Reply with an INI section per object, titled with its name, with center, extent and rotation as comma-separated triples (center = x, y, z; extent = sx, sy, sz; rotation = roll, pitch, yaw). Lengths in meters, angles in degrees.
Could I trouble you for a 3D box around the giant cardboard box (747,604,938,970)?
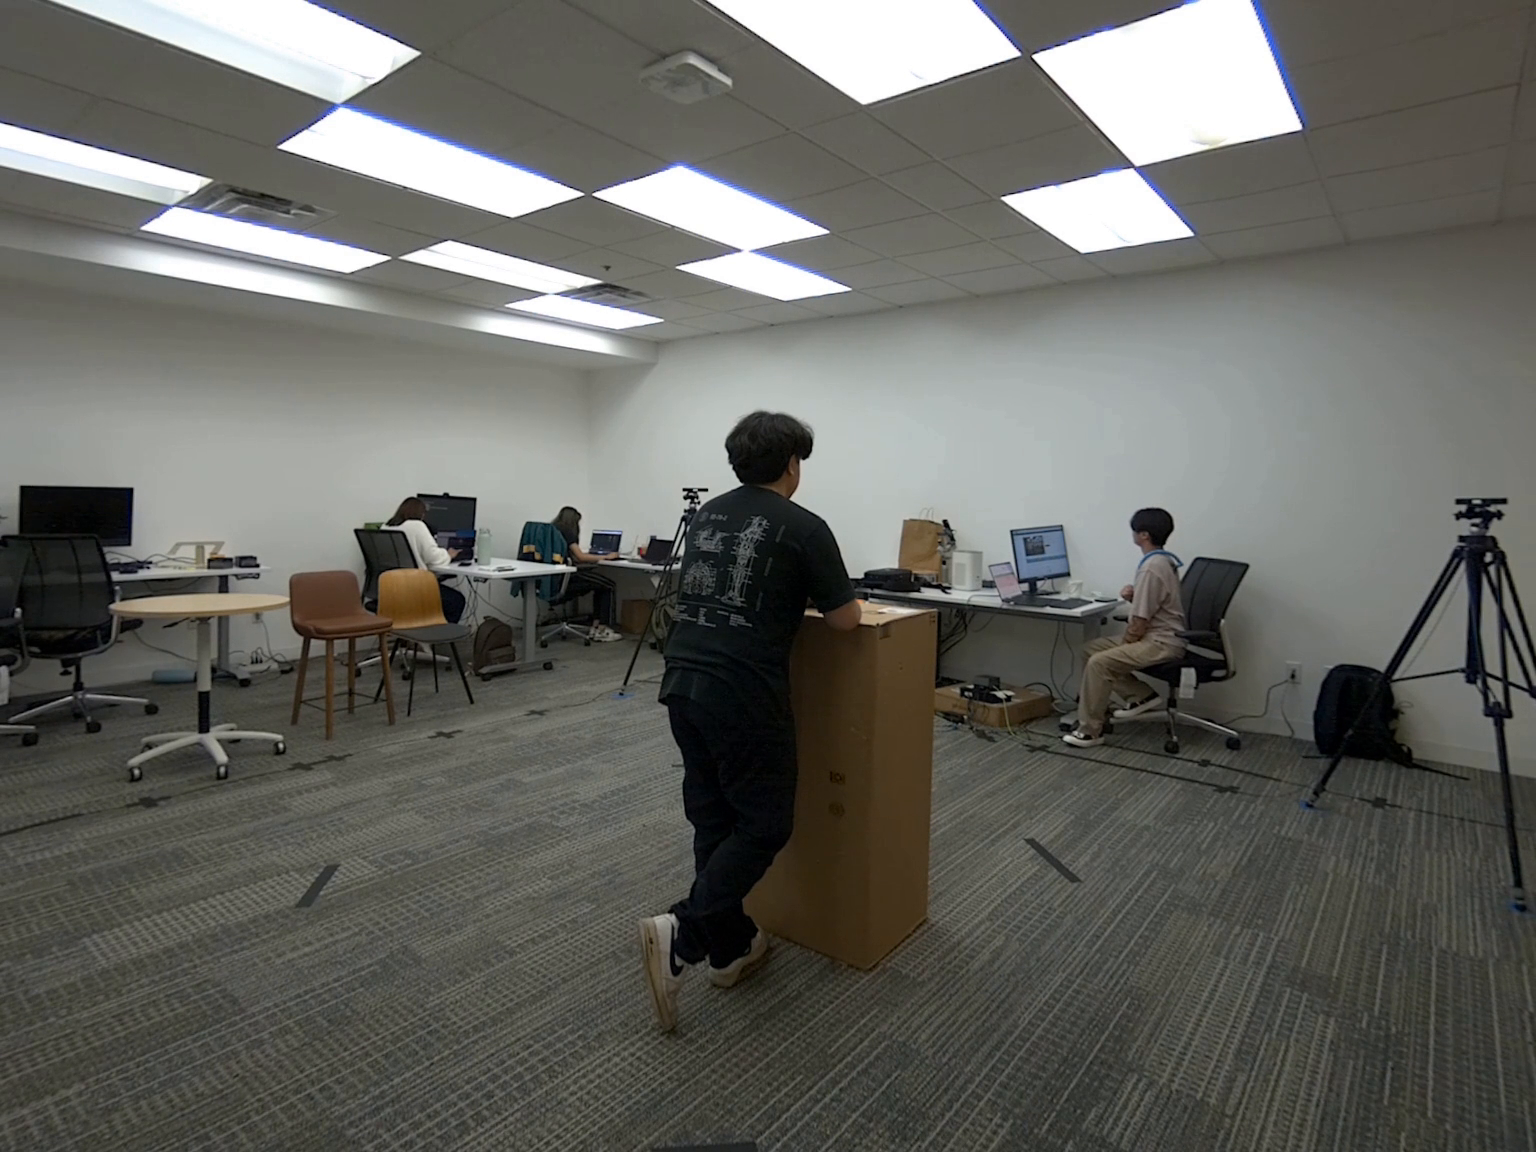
[giant cardboard box]
center = 0.181, 0.600, 2.782
extent = 0.603, 1.024, 0.433
rotation = 4, 4, 37
